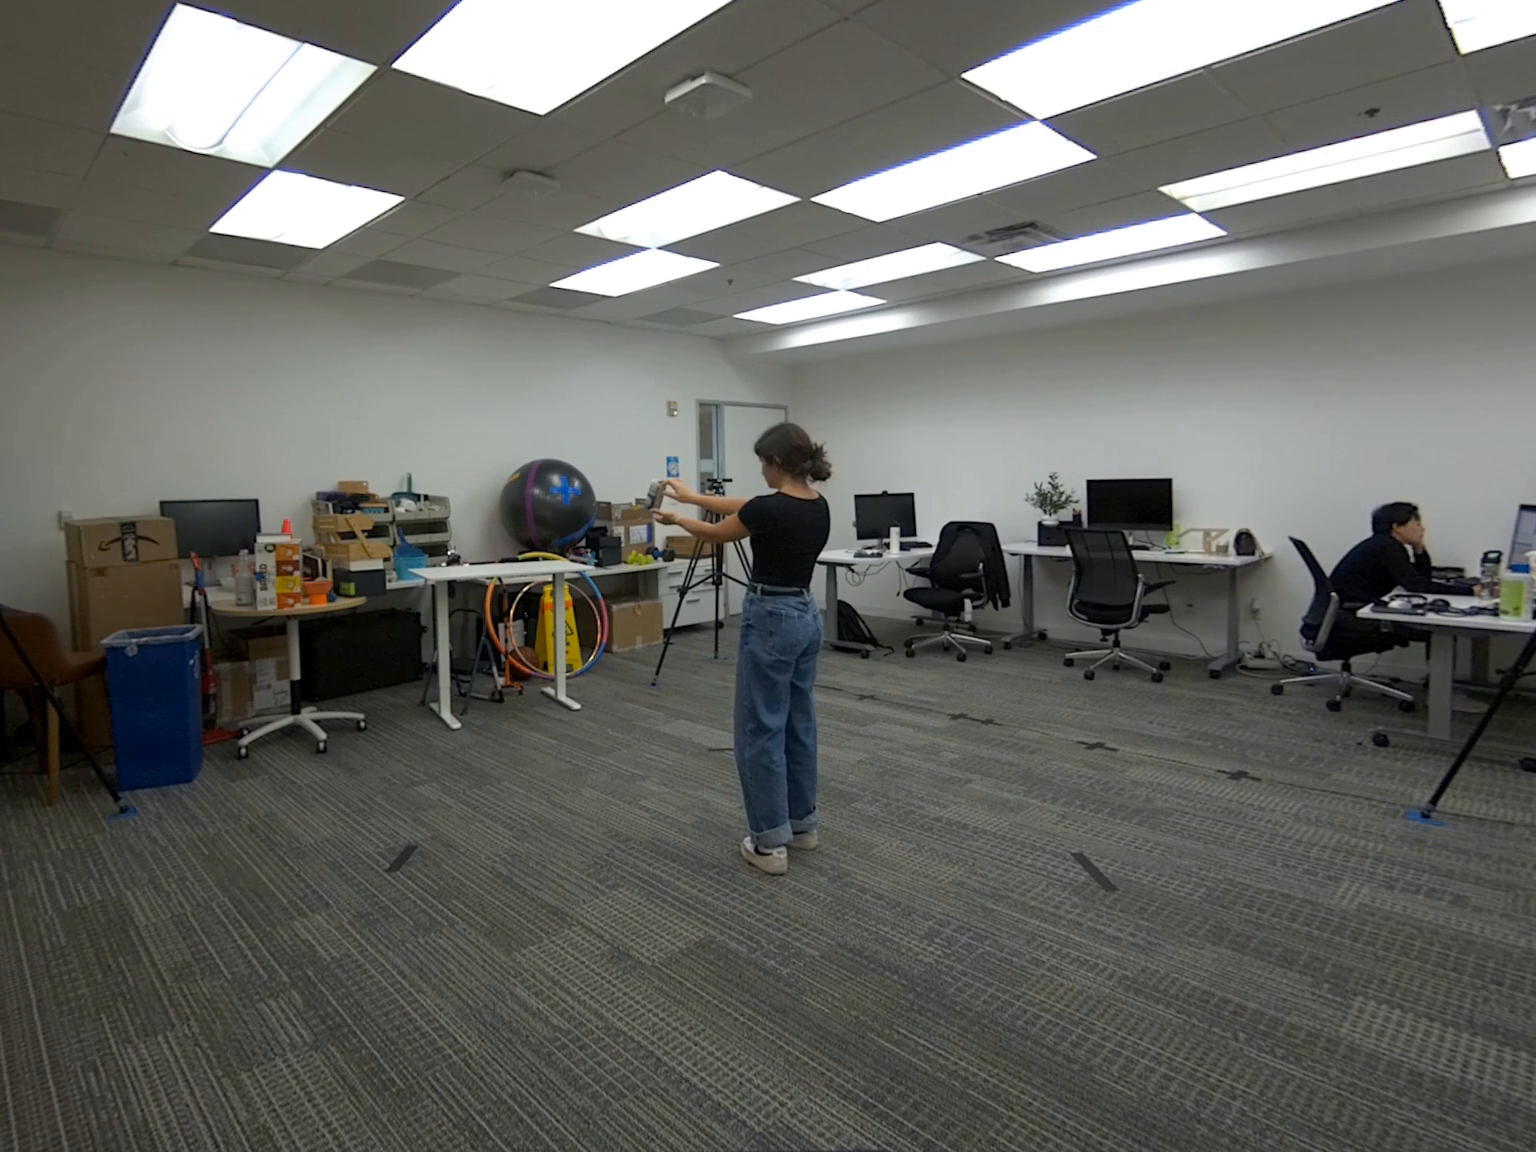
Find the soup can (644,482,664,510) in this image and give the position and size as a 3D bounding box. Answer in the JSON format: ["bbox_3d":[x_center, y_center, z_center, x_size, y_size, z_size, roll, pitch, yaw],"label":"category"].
[{"bbox_3d":[-0.451,-0.324,3.446,0.067,0.120,0.068,18,15,-7],"label":"soup can"}]
